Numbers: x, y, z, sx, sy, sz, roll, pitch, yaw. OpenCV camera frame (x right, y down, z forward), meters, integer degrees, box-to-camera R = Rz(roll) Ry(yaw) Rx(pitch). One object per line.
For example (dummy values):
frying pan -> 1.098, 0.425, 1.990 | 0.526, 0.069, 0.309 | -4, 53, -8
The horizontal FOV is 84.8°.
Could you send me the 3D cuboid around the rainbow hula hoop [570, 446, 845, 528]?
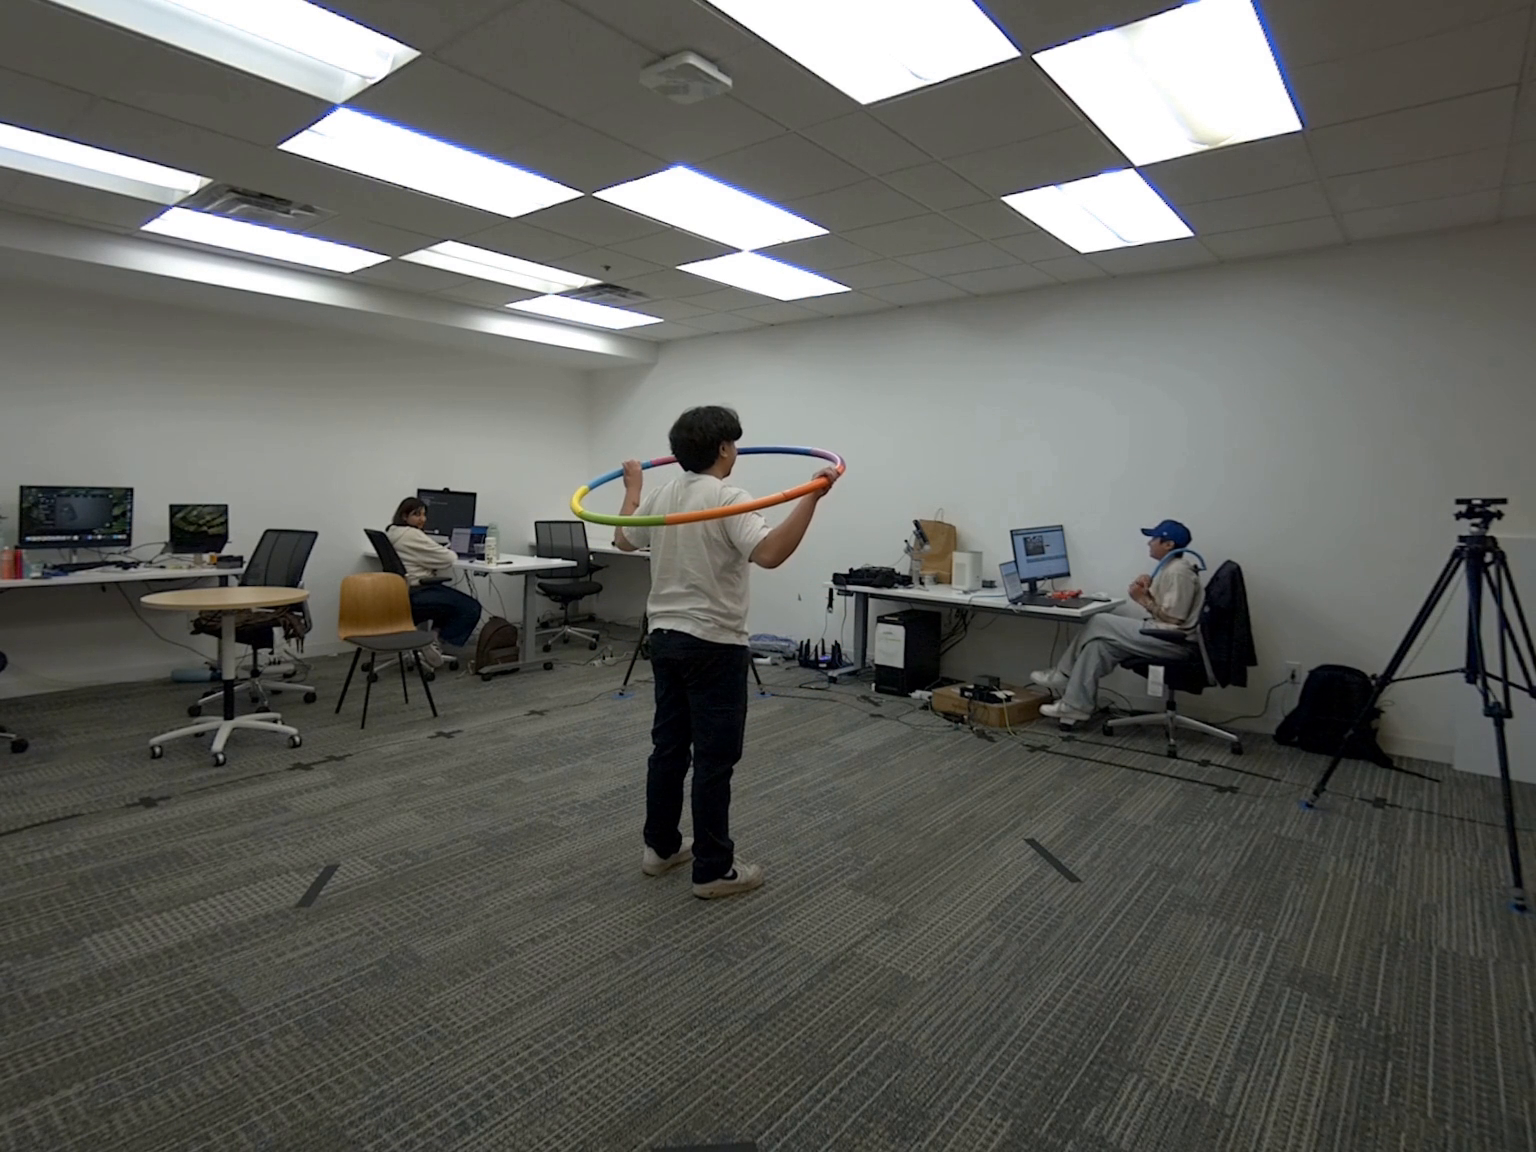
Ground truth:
rainbow hula hoop -> -0.229, -0.339, 3.039 | 0.987, 0.050, 1.003 | -9, 19, 1
